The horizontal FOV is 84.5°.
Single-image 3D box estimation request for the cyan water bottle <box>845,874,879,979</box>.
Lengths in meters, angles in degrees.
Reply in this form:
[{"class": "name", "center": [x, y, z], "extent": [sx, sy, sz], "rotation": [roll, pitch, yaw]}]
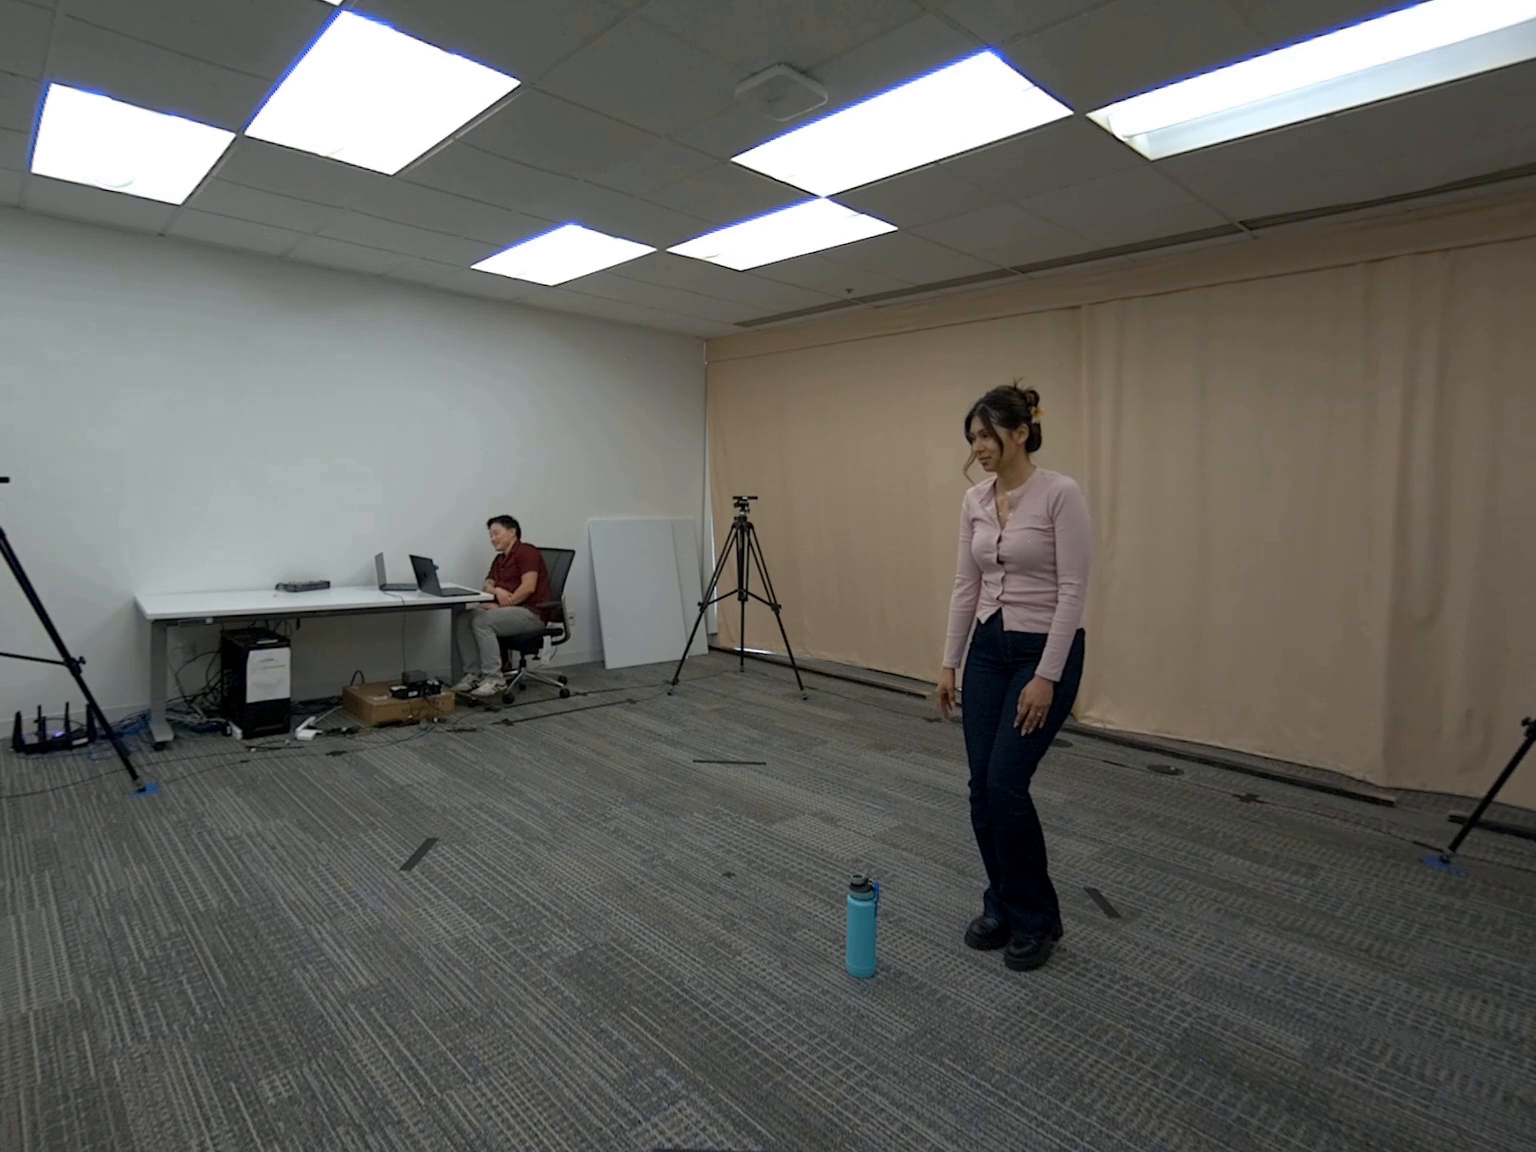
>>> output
[{"class": "cyan water bottle", "center": [0.275, 1.024, 2.491], "extent": [0.092, 0.283, 0.092], "rotation": [1, 3, -1]}]
